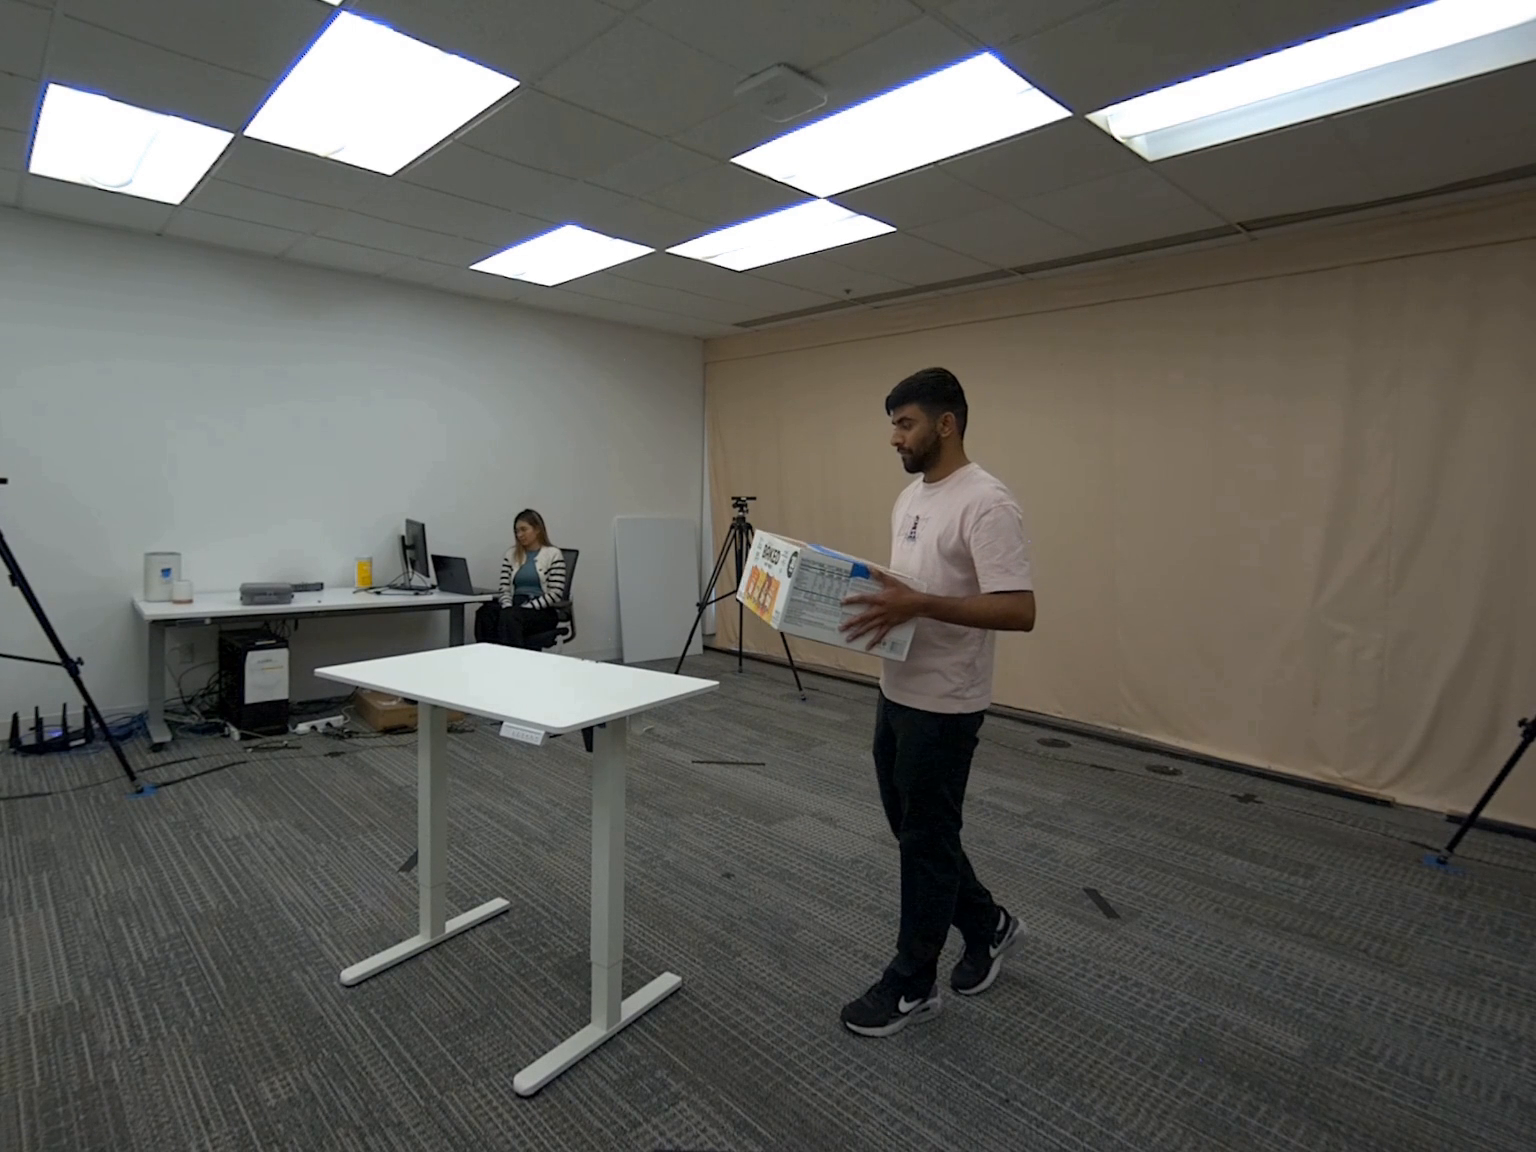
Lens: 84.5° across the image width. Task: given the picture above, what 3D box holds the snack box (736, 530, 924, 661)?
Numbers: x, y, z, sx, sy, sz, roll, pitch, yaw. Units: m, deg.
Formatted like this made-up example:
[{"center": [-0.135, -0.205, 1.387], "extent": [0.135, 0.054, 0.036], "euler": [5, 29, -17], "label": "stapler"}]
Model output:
[{"center": [0.147, 0.040, 2.185], "extent": [0.335, 0.205, 0.412], "euler": [14, 5, -16], "label": "snack box"}]
